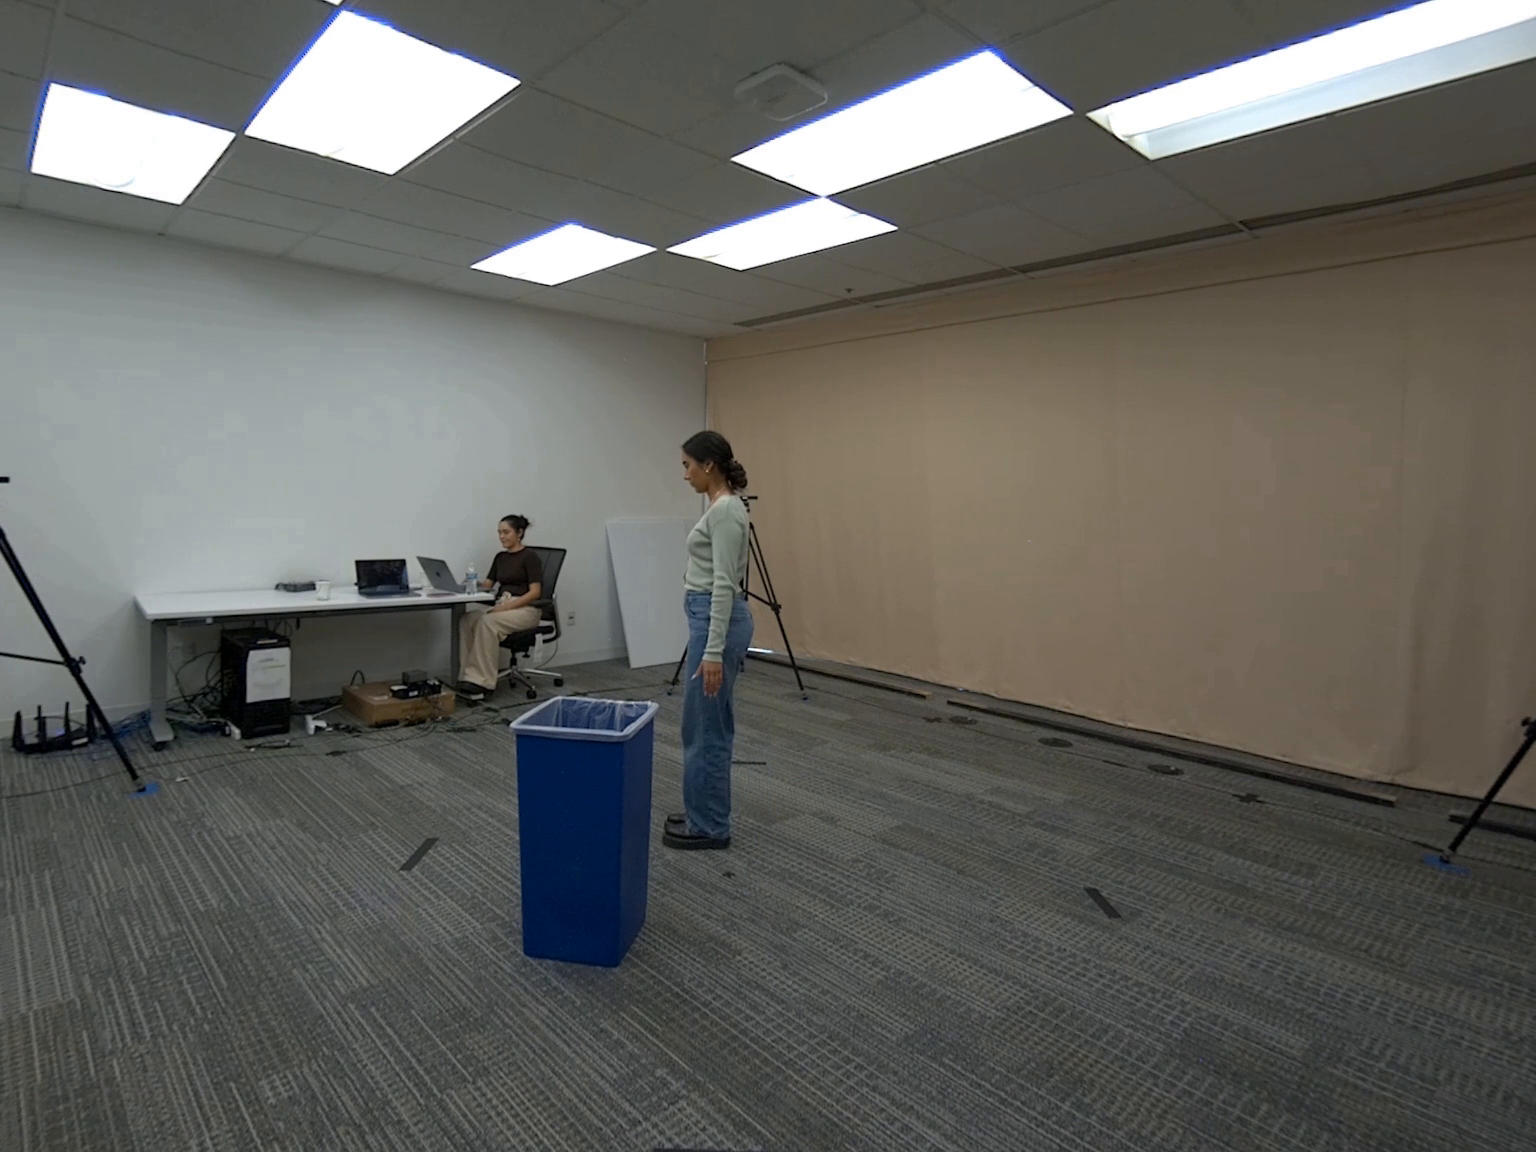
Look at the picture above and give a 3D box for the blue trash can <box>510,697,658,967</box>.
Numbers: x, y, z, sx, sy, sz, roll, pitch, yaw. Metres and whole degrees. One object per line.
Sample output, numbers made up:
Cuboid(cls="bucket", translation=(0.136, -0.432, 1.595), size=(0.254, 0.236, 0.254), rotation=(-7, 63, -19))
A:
Cuboid(cls="blue trash can", translation=(-0.582, 0.784, 2.613), size=(0.377, 0.711, 0.376), rotation=(2, 4, 10))
